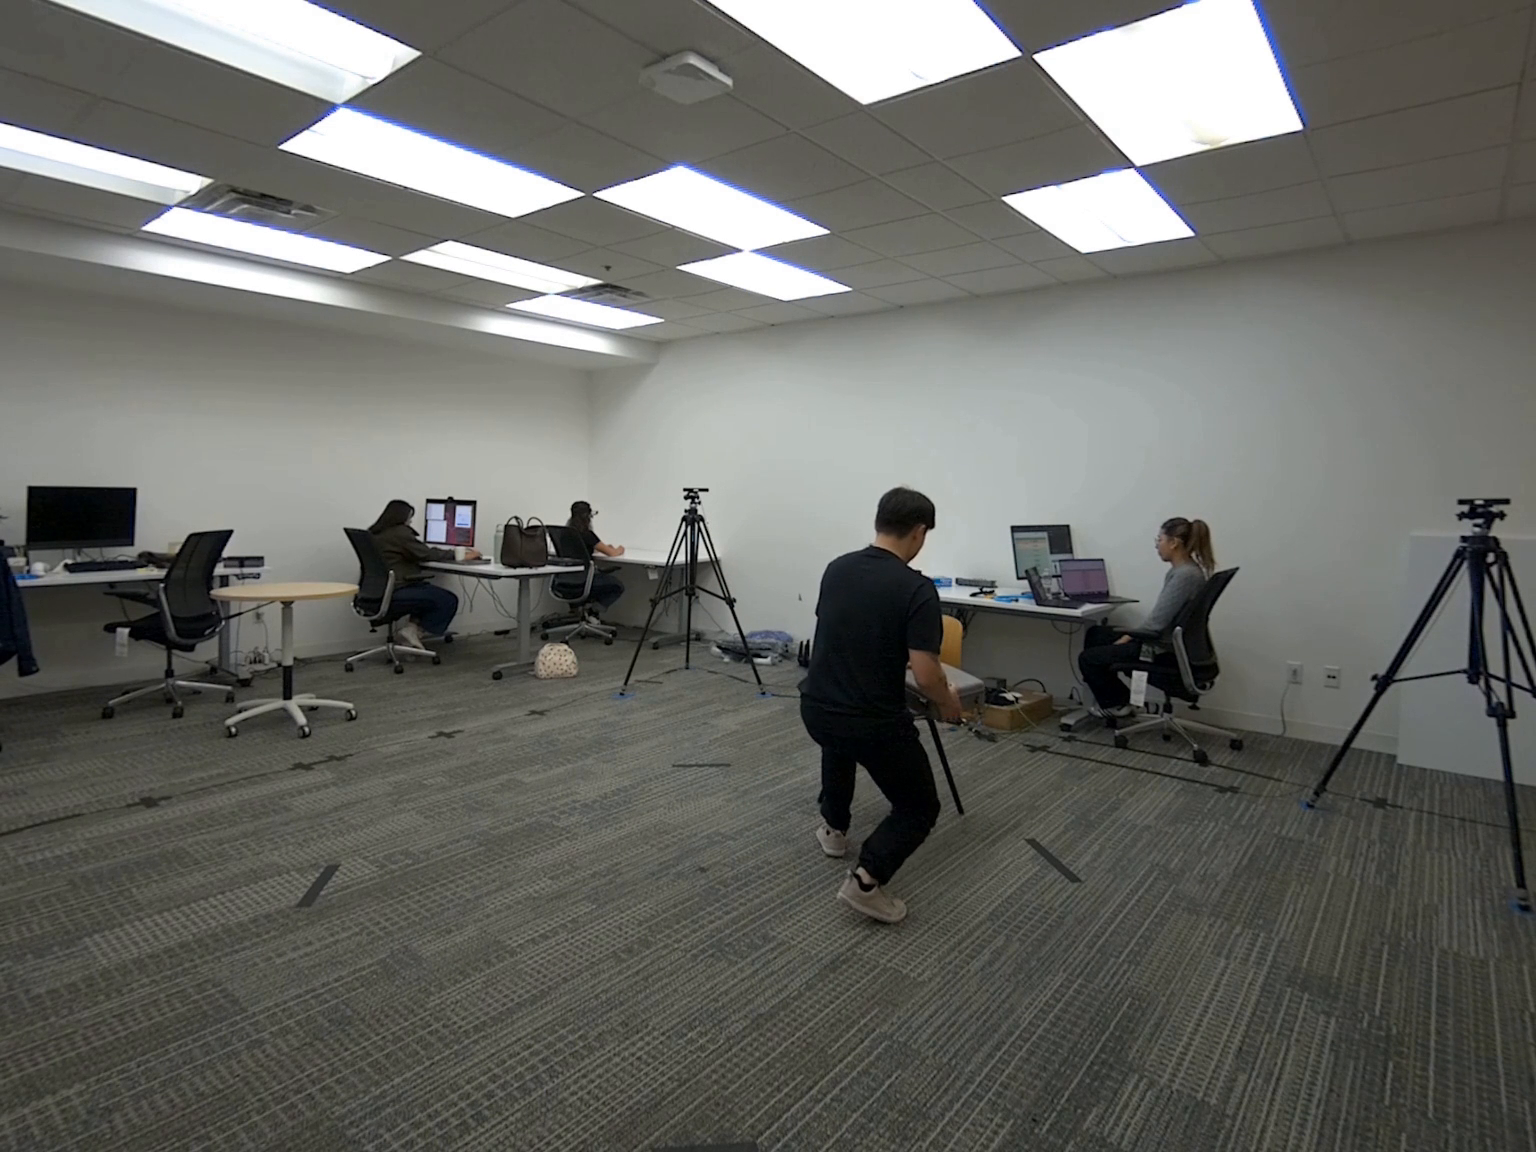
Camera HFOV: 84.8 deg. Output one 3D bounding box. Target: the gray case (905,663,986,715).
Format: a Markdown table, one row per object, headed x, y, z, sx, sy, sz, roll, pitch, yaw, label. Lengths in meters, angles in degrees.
| x | y | z | sx | sy | sz | roll | pitch | yaw | label |
| --- | --- | --- | --- | --- | --- | --- | --- | --- | --- |
| 0.611 | 0.412 | 3.082 | 0.254 | 0.103 | 0.266 | -10 | 15 | -30 | gray case |
